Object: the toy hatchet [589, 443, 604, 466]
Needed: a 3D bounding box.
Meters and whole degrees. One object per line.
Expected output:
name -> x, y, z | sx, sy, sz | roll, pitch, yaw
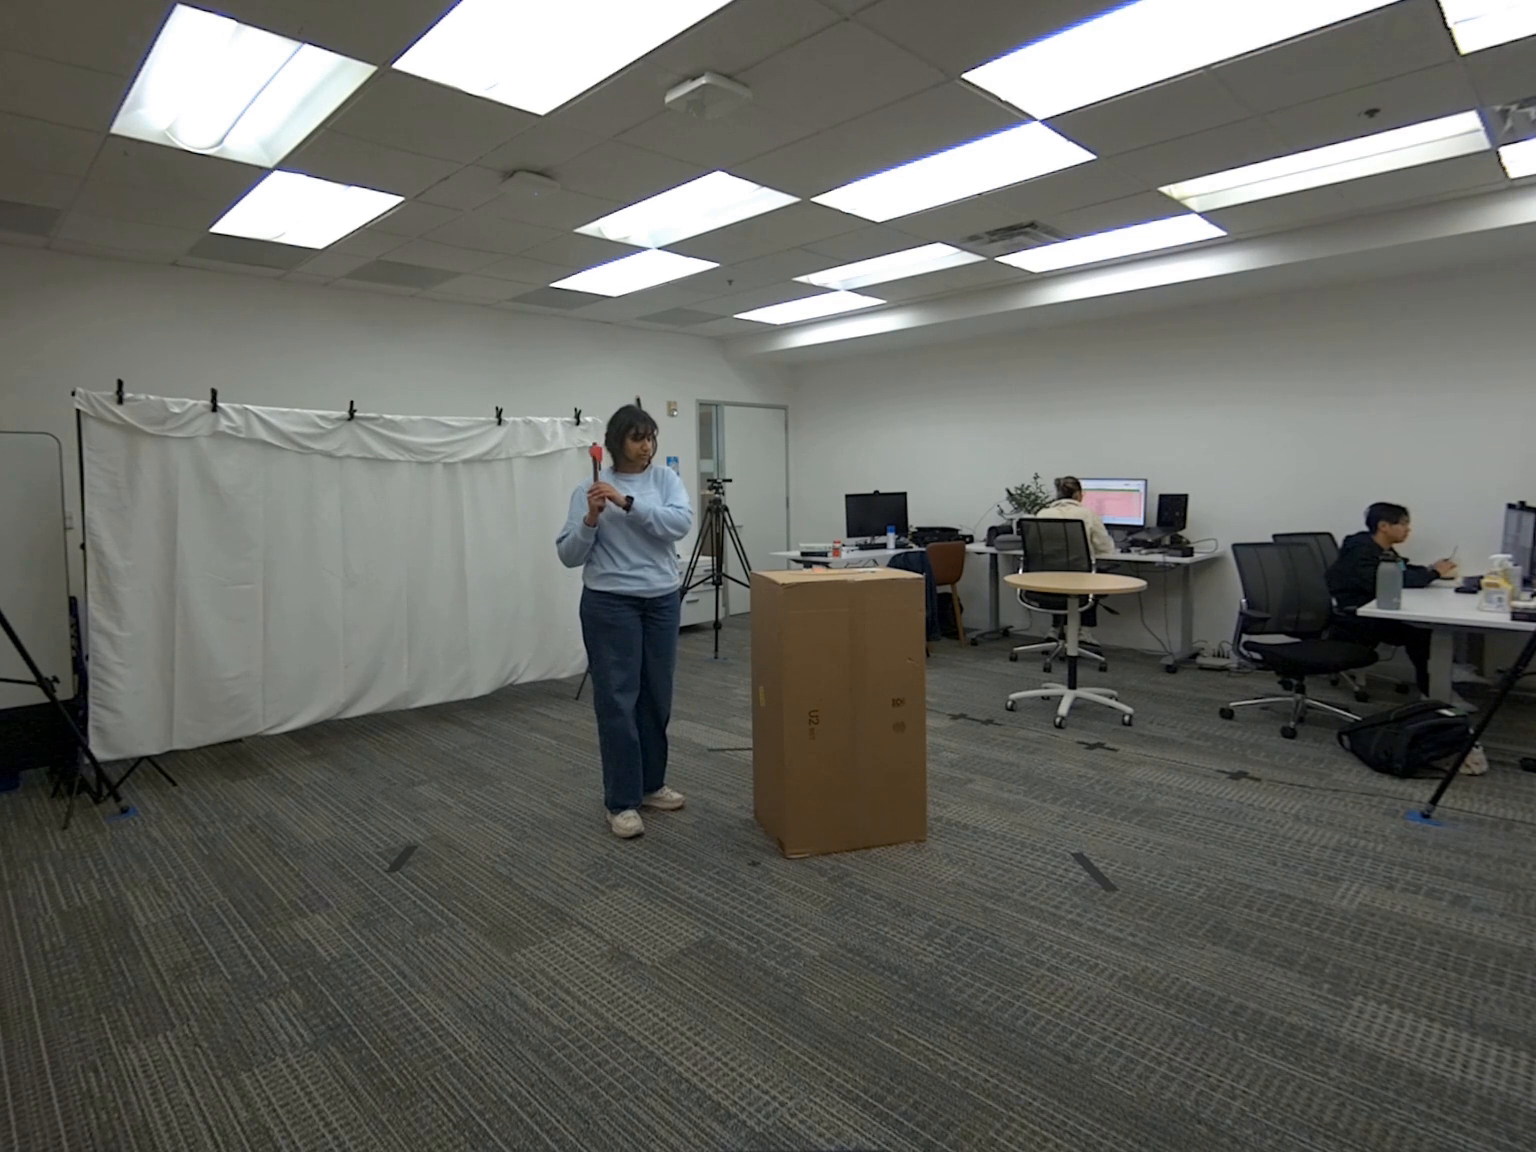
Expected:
toy hatchet -> -0.652, -0.388, 3.305 | 0.029, 0.275, 0.132 | -2, -19, -28
